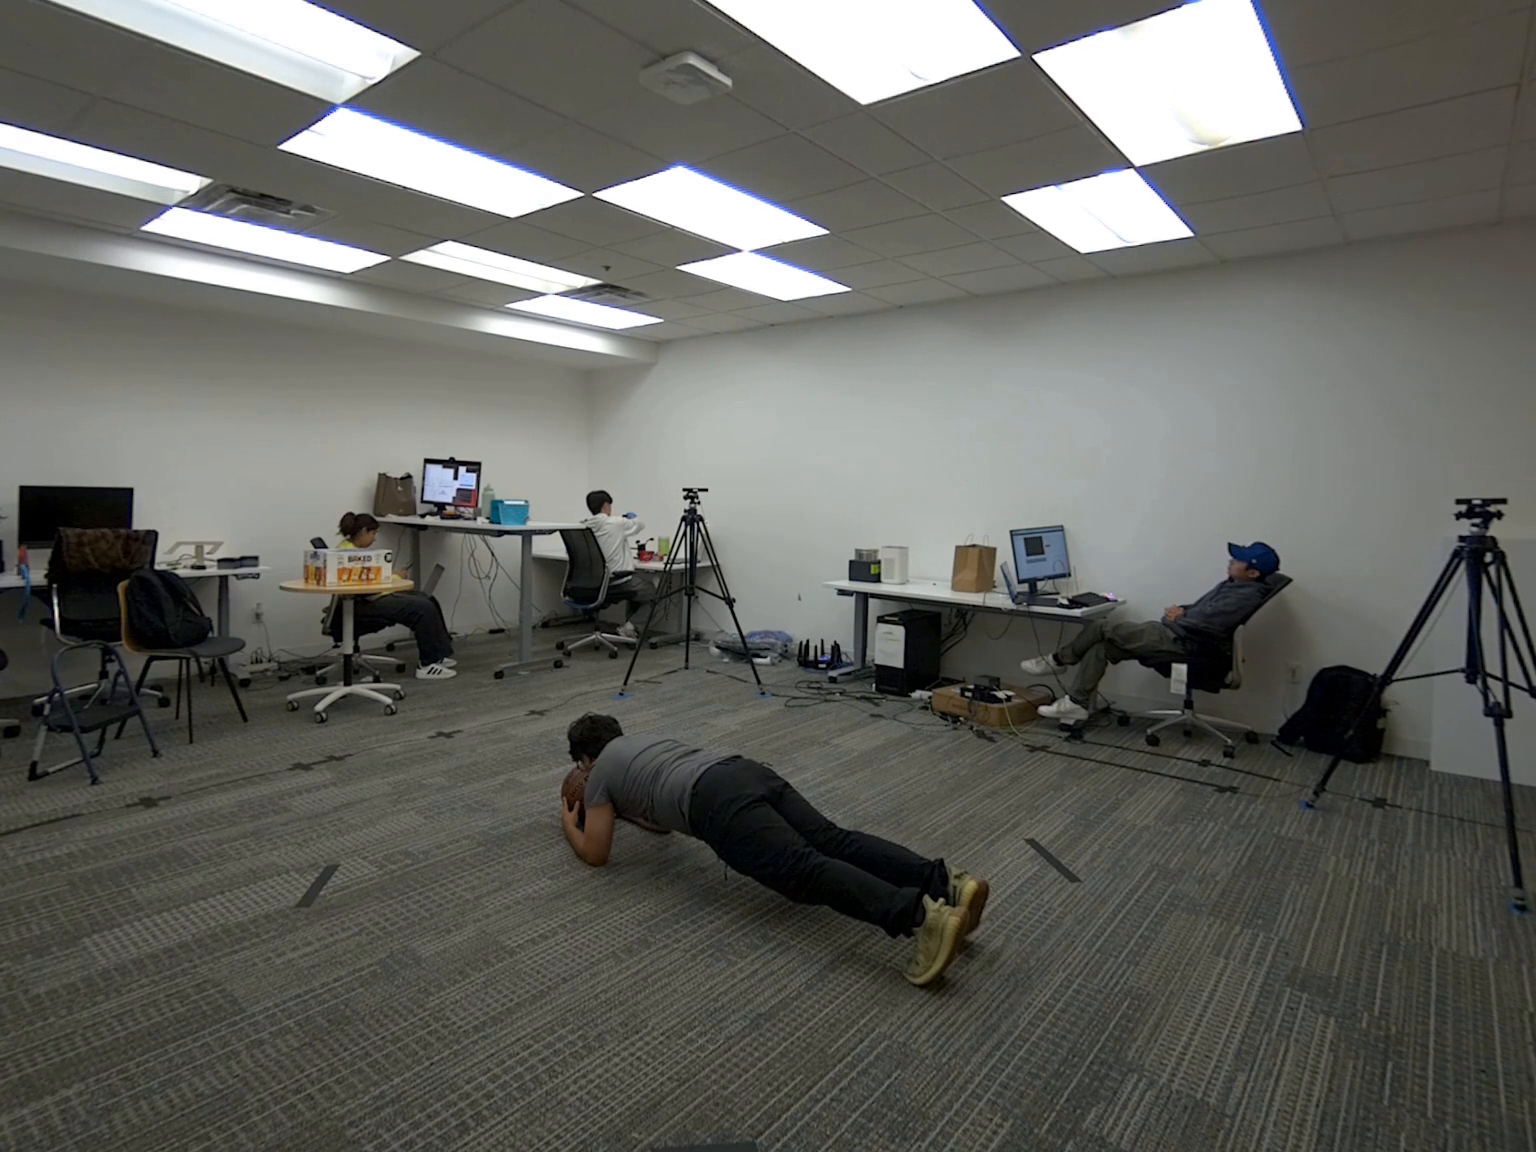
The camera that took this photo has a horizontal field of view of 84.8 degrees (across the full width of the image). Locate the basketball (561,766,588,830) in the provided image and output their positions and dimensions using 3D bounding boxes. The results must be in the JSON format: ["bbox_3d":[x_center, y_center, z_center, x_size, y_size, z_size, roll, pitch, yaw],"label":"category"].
[{"bbox_3d":[-0.739,0.891,3.538,0.235,0.235,0.237,1,4,-2],"label":"basketball"}]
